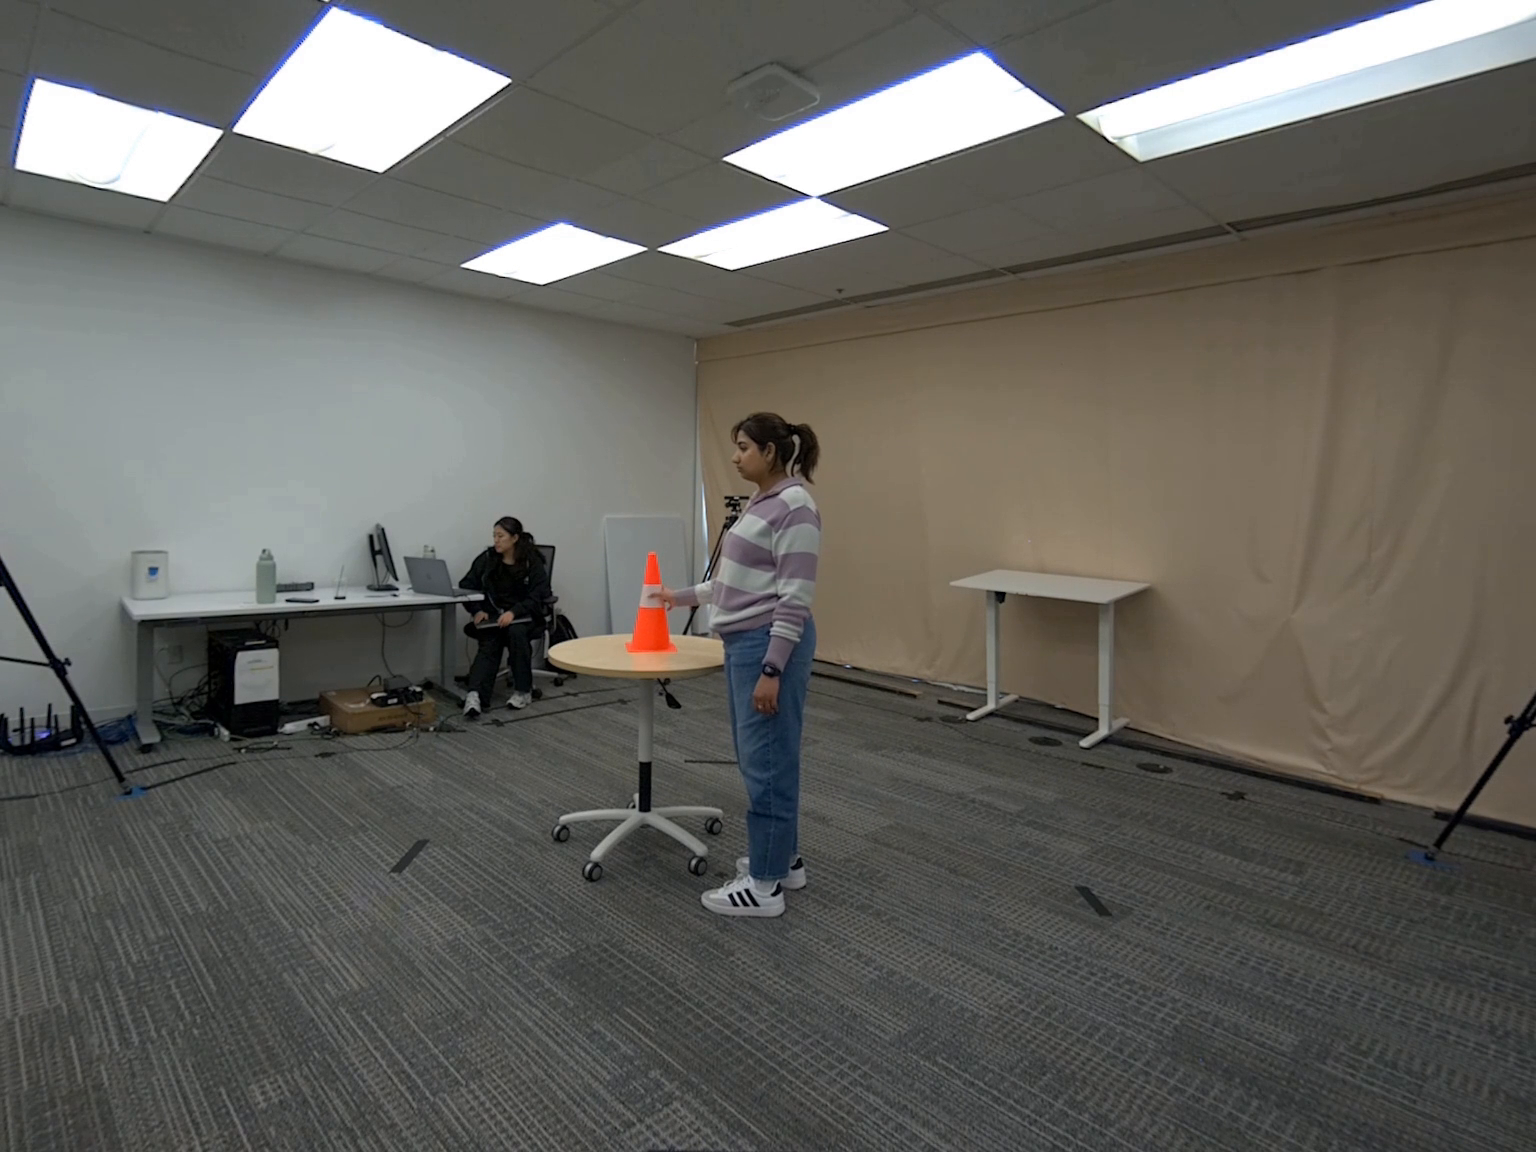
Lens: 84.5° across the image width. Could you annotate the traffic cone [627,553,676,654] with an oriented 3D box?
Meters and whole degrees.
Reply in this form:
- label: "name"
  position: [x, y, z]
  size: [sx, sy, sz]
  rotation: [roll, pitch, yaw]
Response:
- label: "traffic cone"
  position: [-0.470, 0.102, 3.365]
  size: [0.203, 0.382, 0.206]
  rotation: [2, 4, -13]
